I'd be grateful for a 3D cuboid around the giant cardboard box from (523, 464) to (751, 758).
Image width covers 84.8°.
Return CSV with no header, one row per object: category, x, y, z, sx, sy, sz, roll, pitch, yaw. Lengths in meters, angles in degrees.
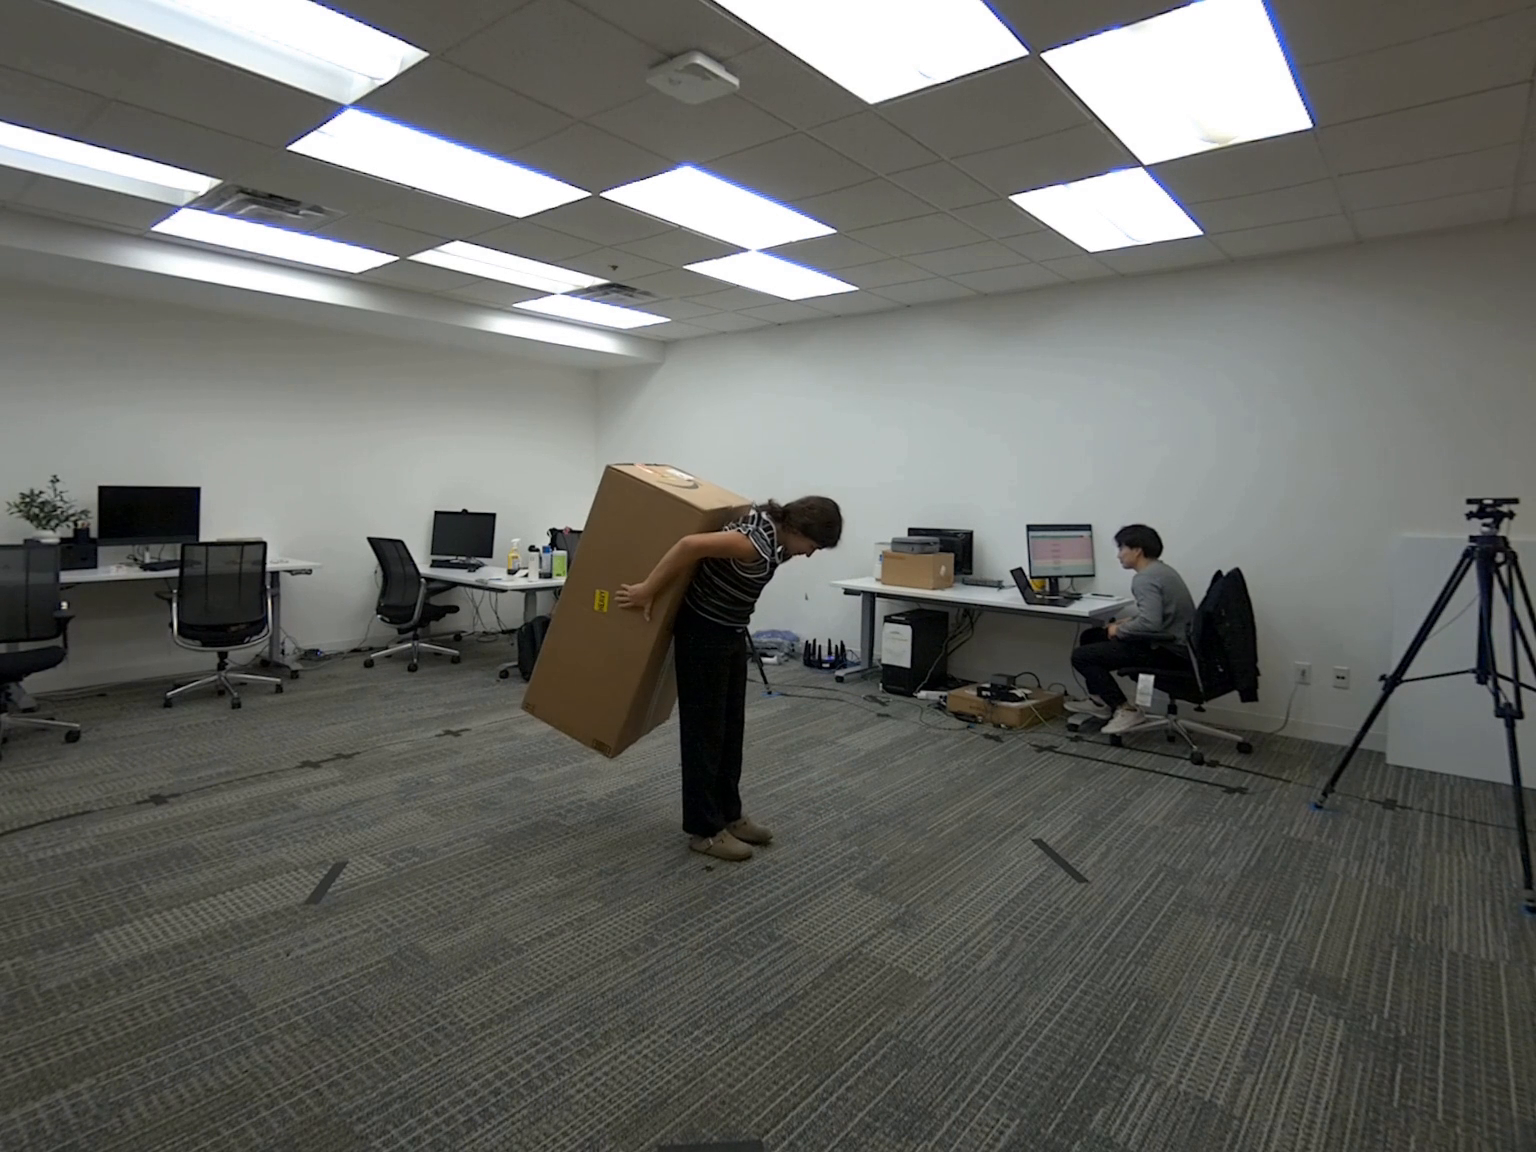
giant cardboard box,-0.519,0.107,3.401,0.435,1.019,0.569,25,12,14
